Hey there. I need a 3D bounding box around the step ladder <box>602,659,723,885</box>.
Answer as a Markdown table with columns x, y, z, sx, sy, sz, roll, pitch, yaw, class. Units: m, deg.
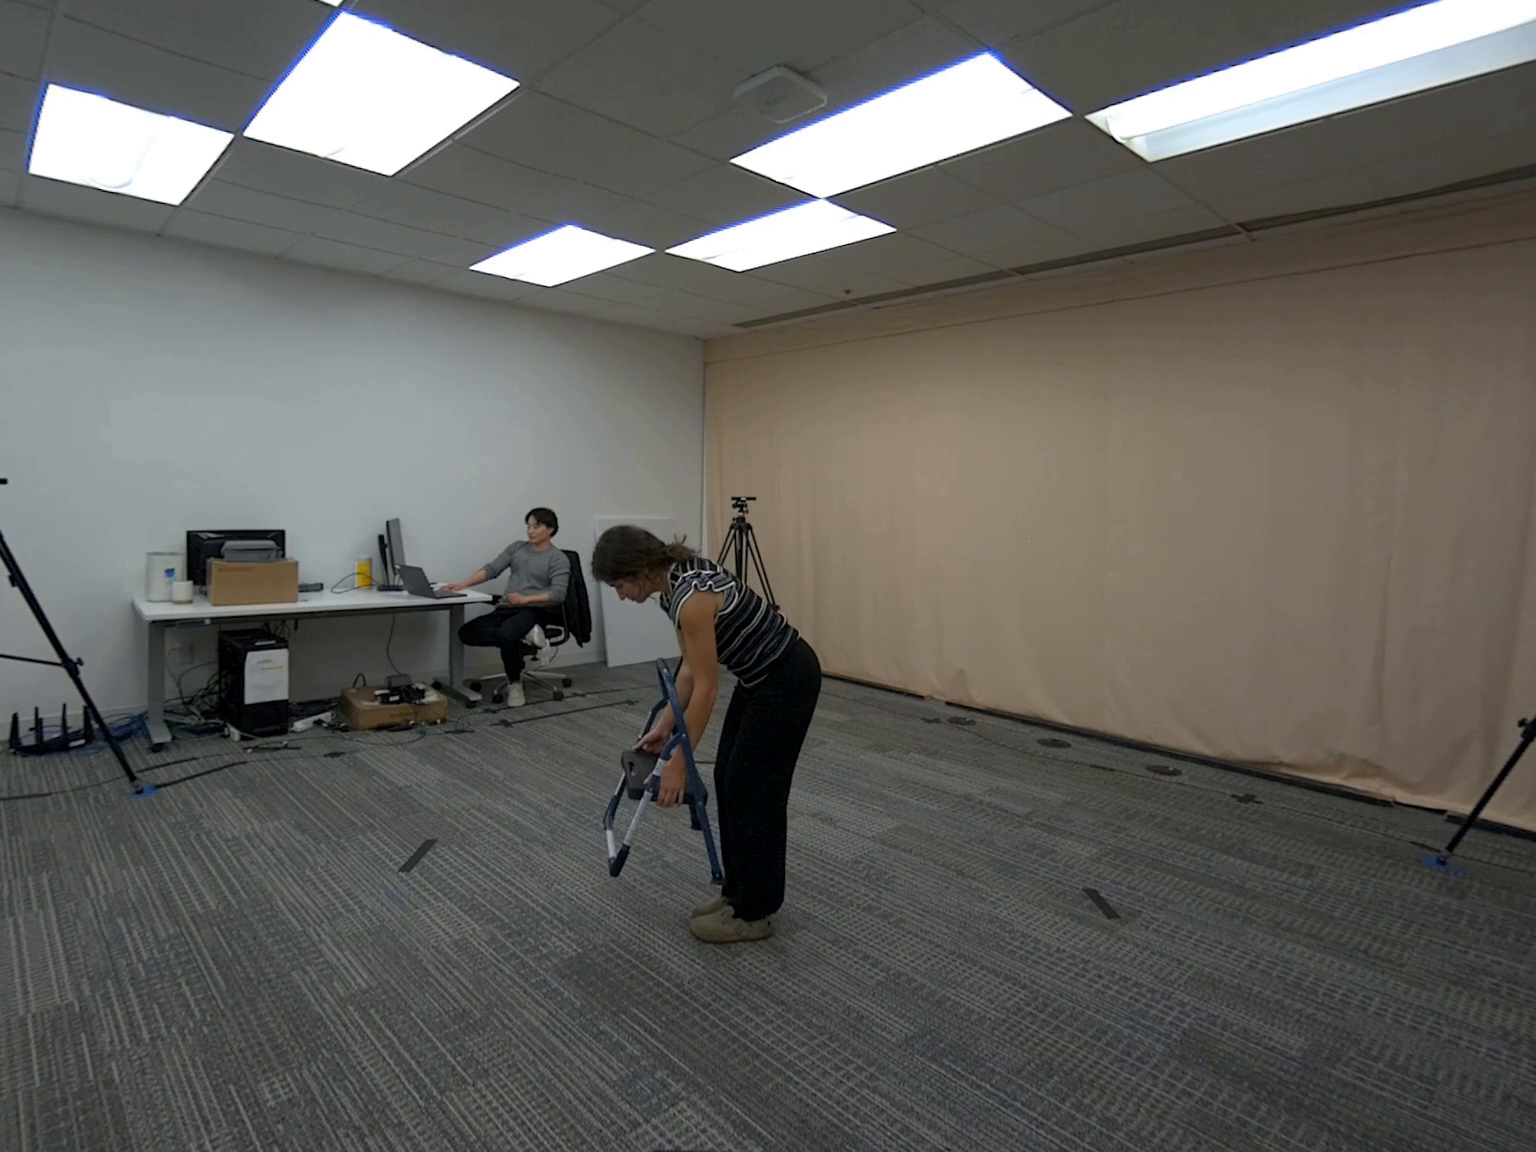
| x | y | z | sx | sy | sz | roll | pitch | yaw | class |
| --- | --- | --- | --- | --- | --- | --- | --- | --- | --- |
| -0.307 | 0.585 | 2.676 | 0.345 | 0.605 | 0.437 | 7 | 3 | -15 | step ladder |
